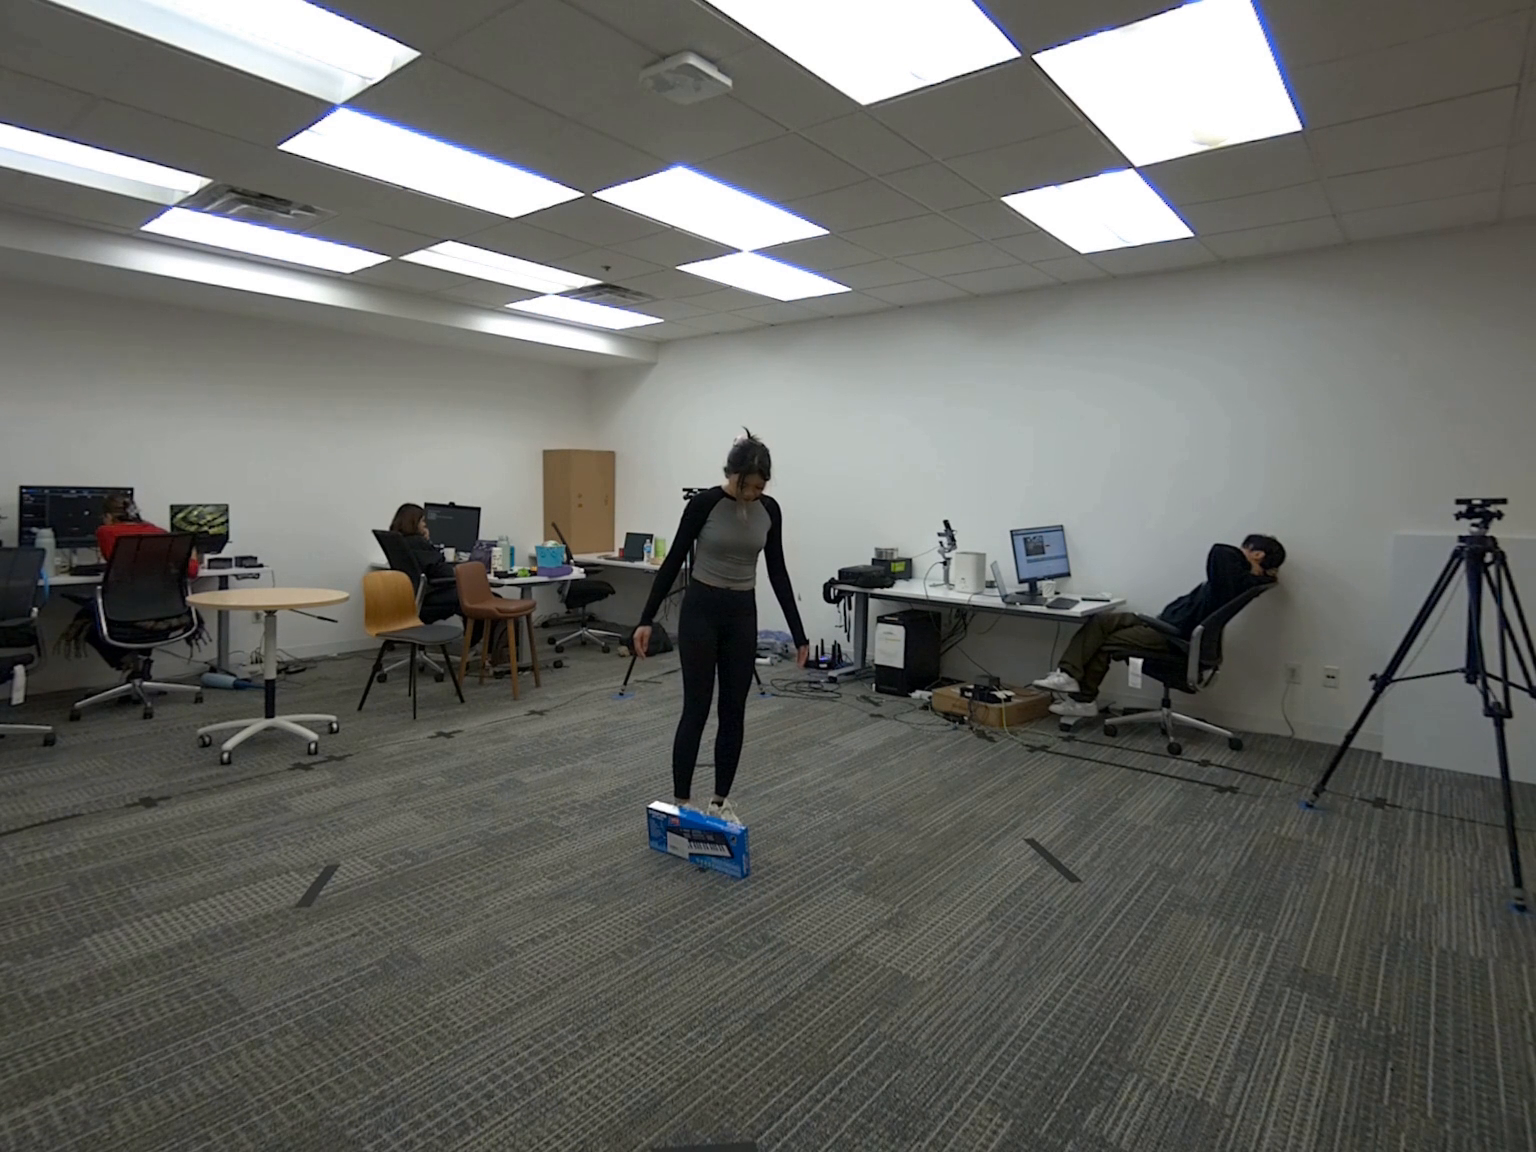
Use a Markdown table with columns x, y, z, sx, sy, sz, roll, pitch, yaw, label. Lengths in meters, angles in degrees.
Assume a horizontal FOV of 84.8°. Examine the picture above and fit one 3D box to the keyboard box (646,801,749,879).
| x | y | z | sx | sy | sz | roll | pitch | yaw | label |
| --- | --- | --- | --- | --- | --- | --- | --- | --- | --- |
| -0.278 | 0.977 | 3.171 | 0.451 | 0.174 | 0.058 | 4 | 11 | 35 | keyboard box |
